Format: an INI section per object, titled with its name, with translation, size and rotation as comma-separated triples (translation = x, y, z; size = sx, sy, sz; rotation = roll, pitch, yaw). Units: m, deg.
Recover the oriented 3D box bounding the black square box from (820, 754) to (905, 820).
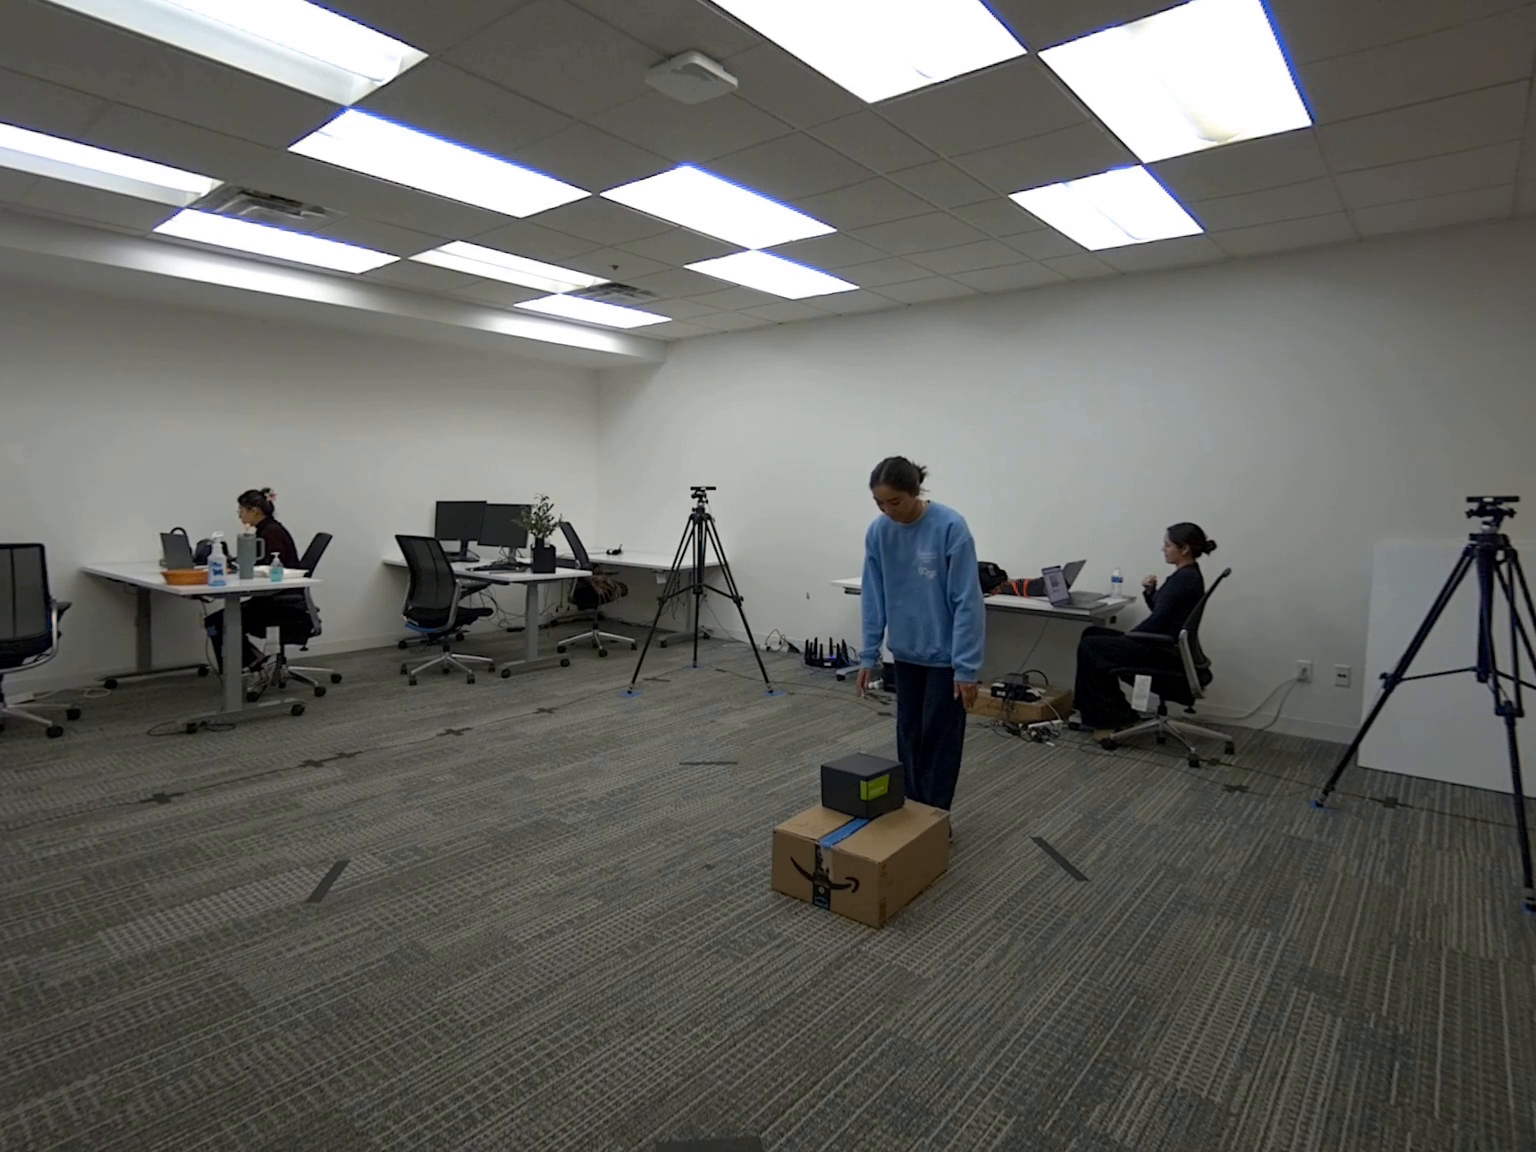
[black square box]
translation = 0.343, 0.768, 3.158
size = 0.224, 0.156, 0.221
rotation = 1, 4, 45
